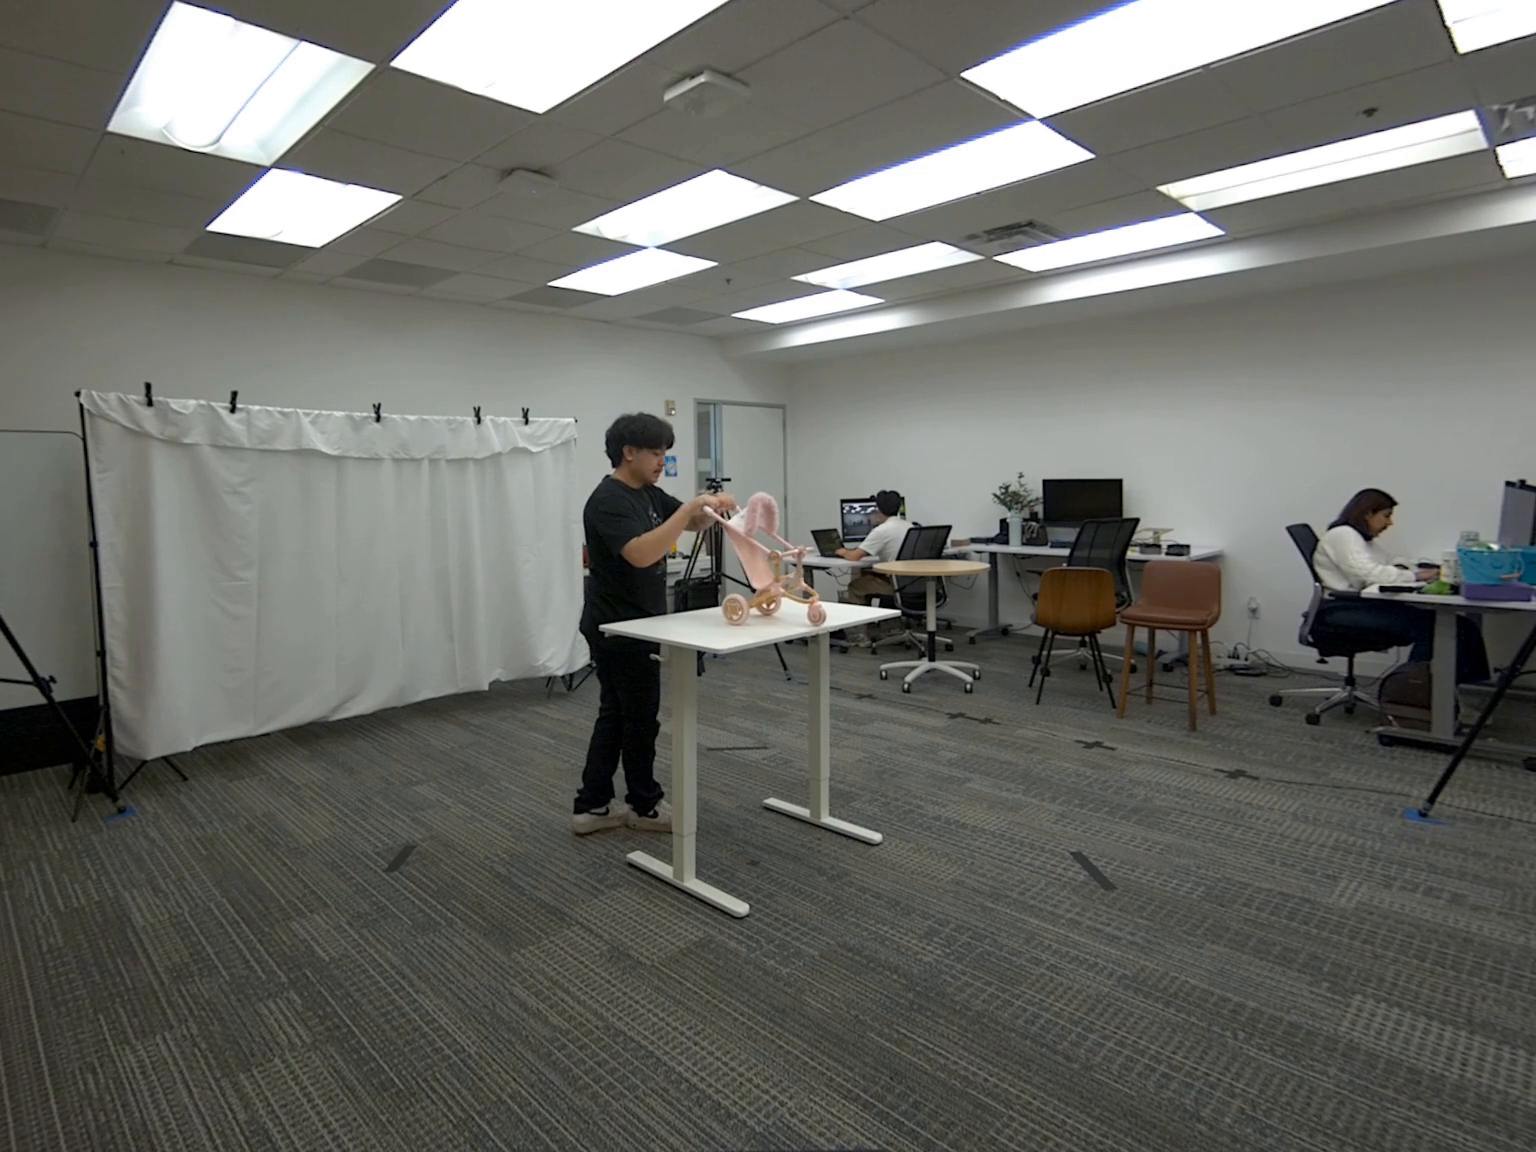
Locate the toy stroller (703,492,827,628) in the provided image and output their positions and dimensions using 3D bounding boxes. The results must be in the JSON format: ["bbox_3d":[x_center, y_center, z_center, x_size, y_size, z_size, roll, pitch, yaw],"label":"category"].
[{"bbox_3d":[-0.003,-0.059,3.053,0.348,0.538,0.275,-16,-5,33],"label":"toy stroller"}]
